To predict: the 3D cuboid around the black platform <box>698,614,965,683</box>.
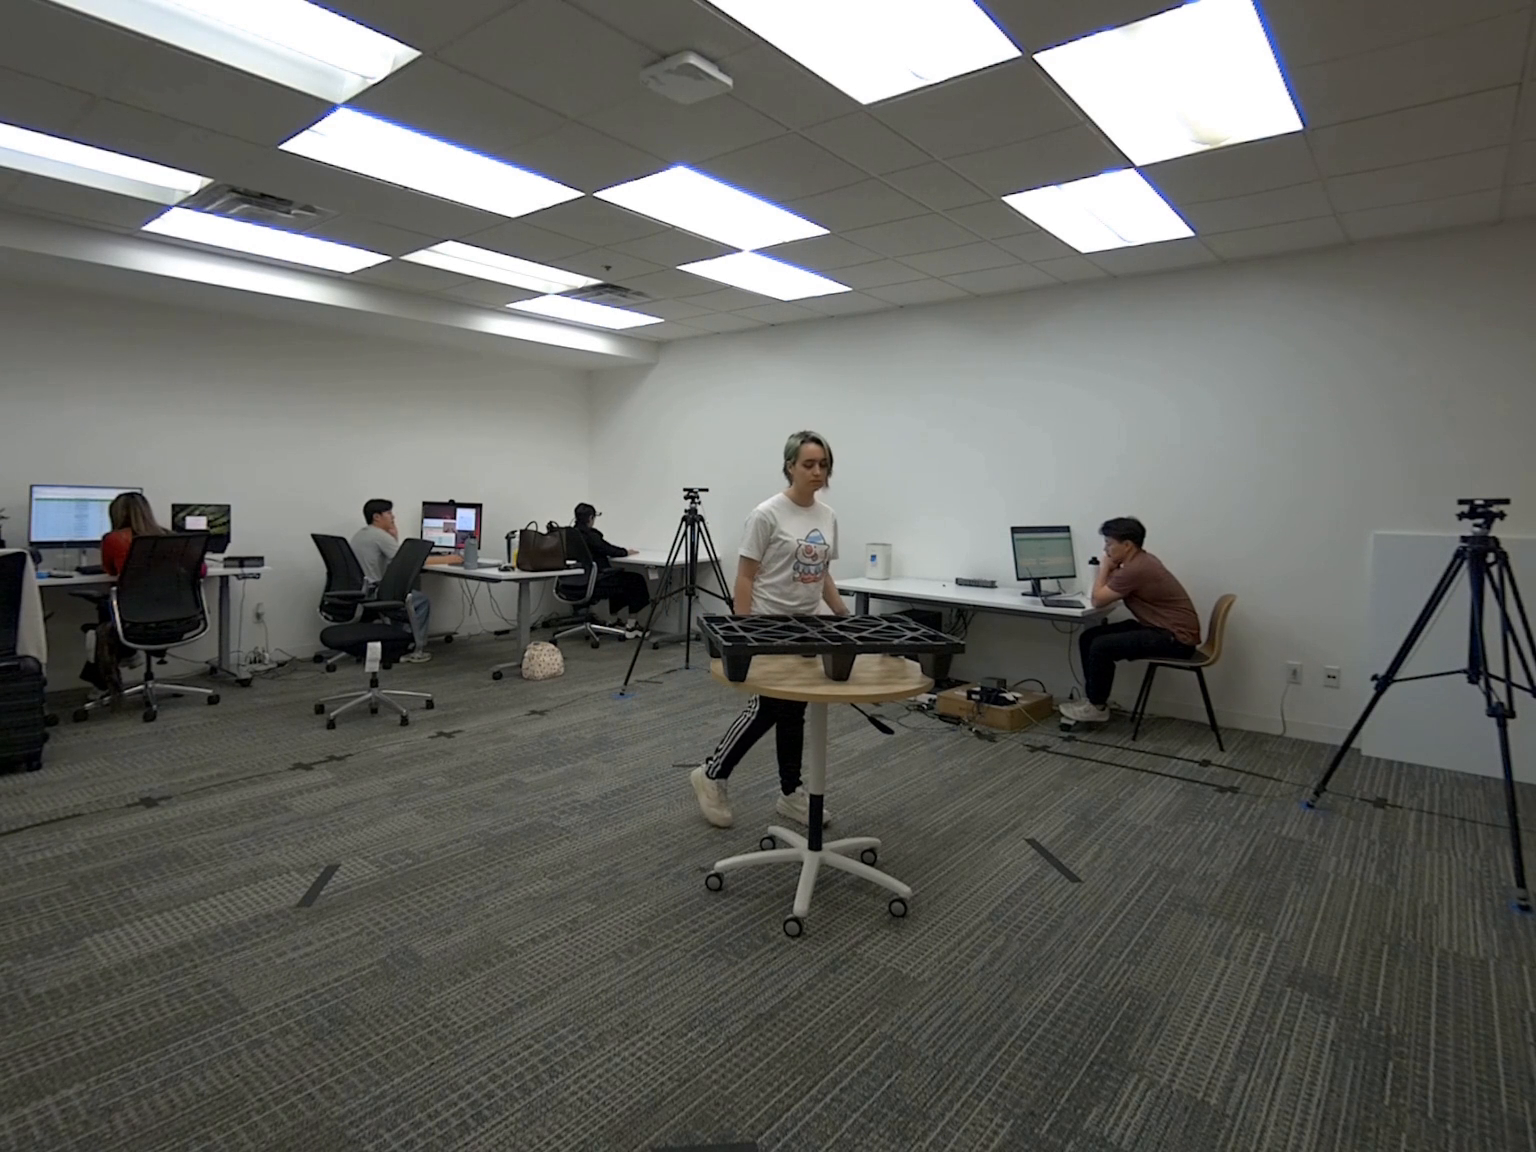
[{"bbox_3d":[0.179,0.243,2.962,0.797,0.142,0.615,0,7,-11],"label":"black platform"}]
